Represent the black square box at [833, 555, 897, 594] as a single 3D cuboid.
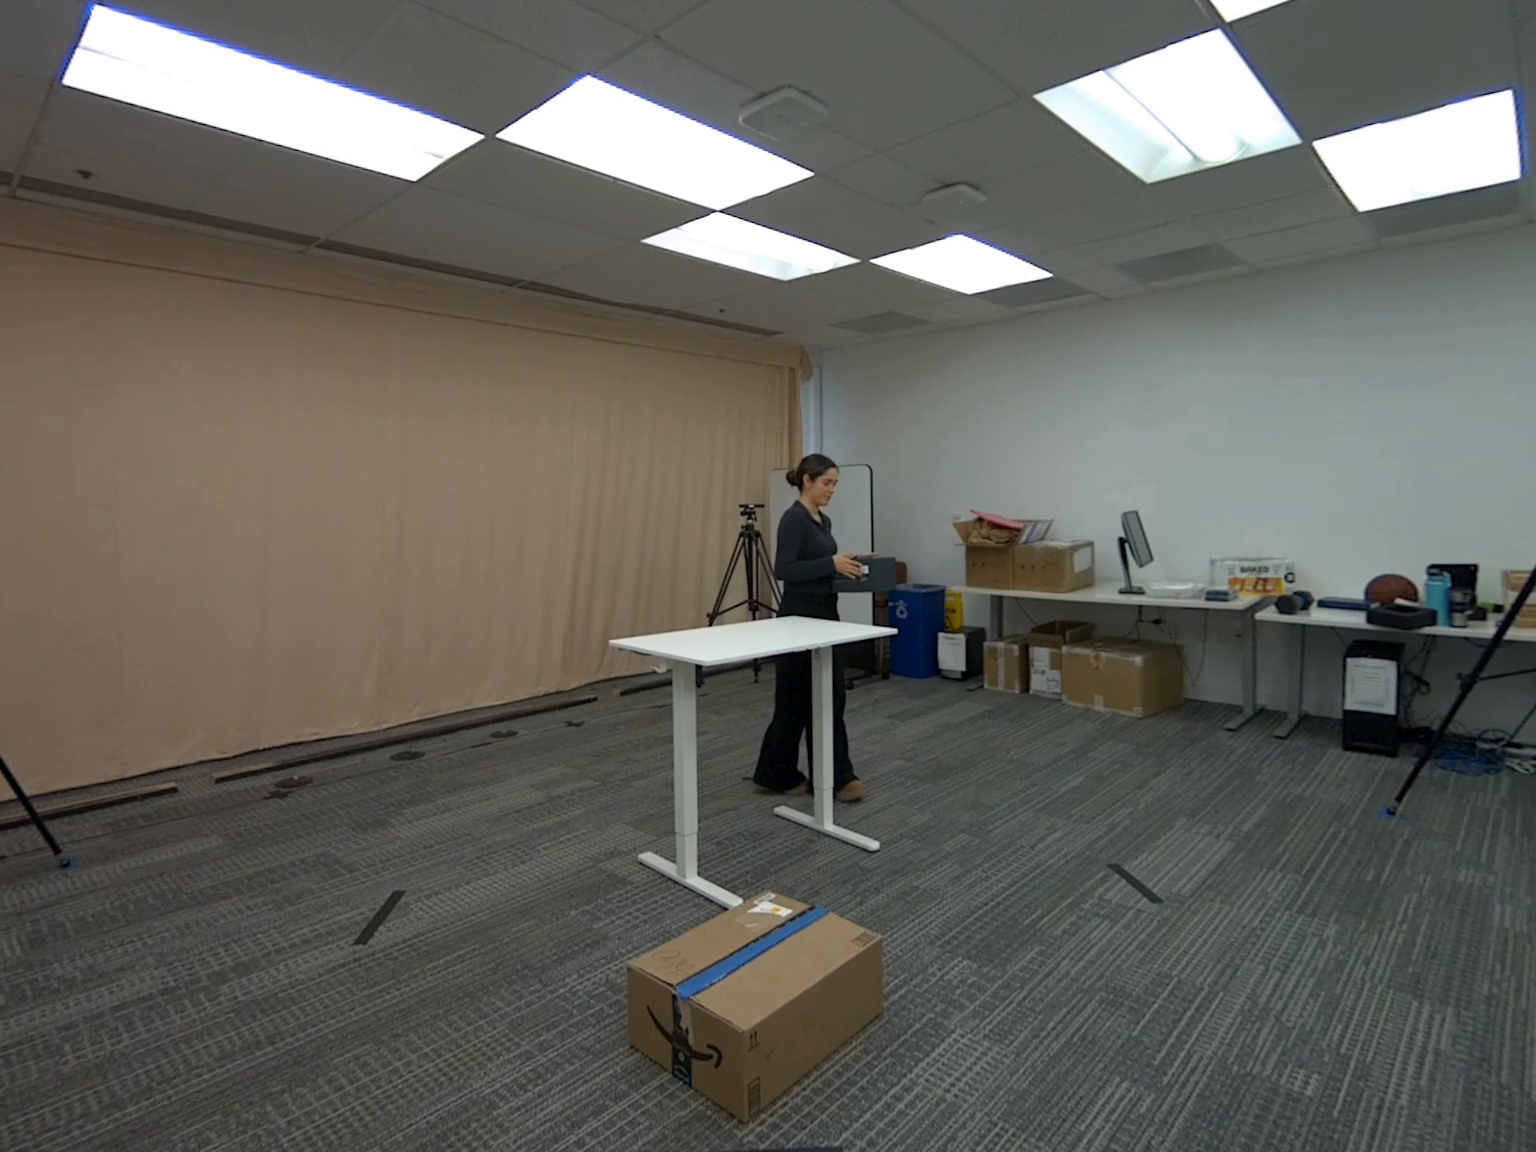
[{"bbox_3d":[0.453,-0.007,3.925,0.224,0.156,0.221,-1,1,36],"label":"black square box"}]
